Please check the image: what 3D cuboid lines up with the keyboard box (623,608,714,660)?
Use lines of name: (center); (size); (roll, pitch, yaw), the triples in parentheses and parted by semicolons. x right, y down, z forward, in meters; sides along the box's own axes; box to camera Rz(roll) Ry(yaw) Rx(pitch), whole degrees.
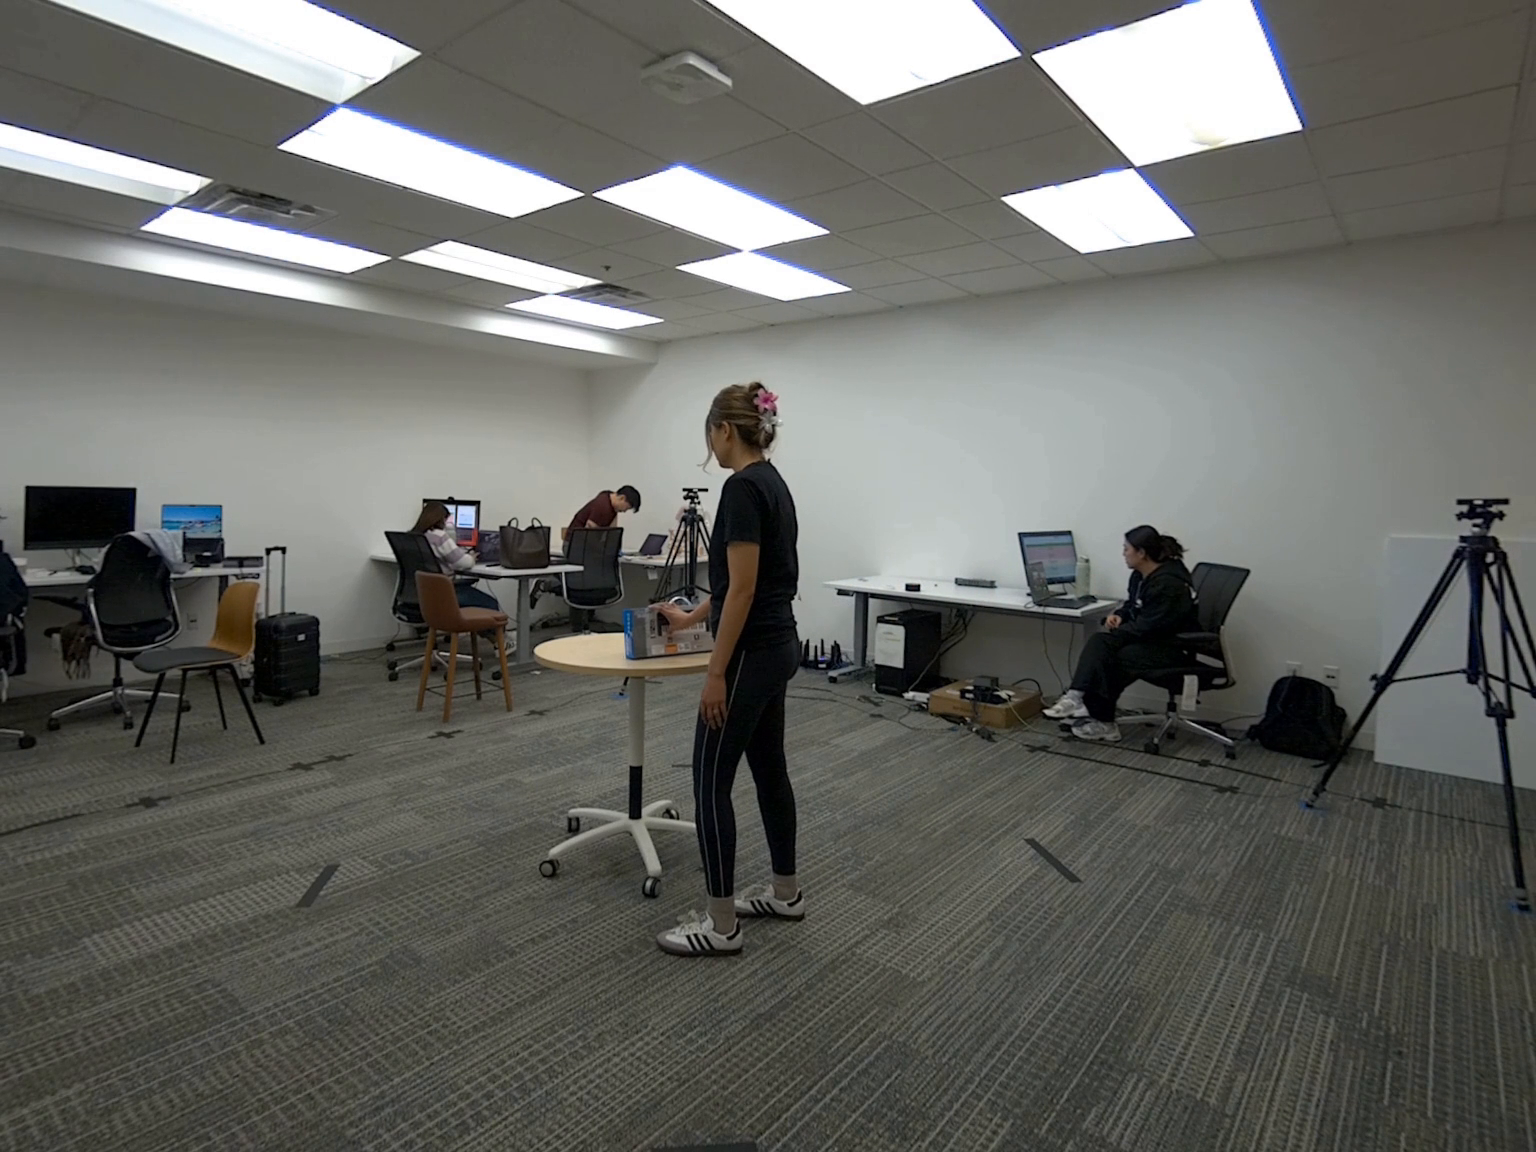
keyboard box: (-0.332, 0.195, 3.111); (0.424, 0.176, 0.060); (-3, -3, -34)
